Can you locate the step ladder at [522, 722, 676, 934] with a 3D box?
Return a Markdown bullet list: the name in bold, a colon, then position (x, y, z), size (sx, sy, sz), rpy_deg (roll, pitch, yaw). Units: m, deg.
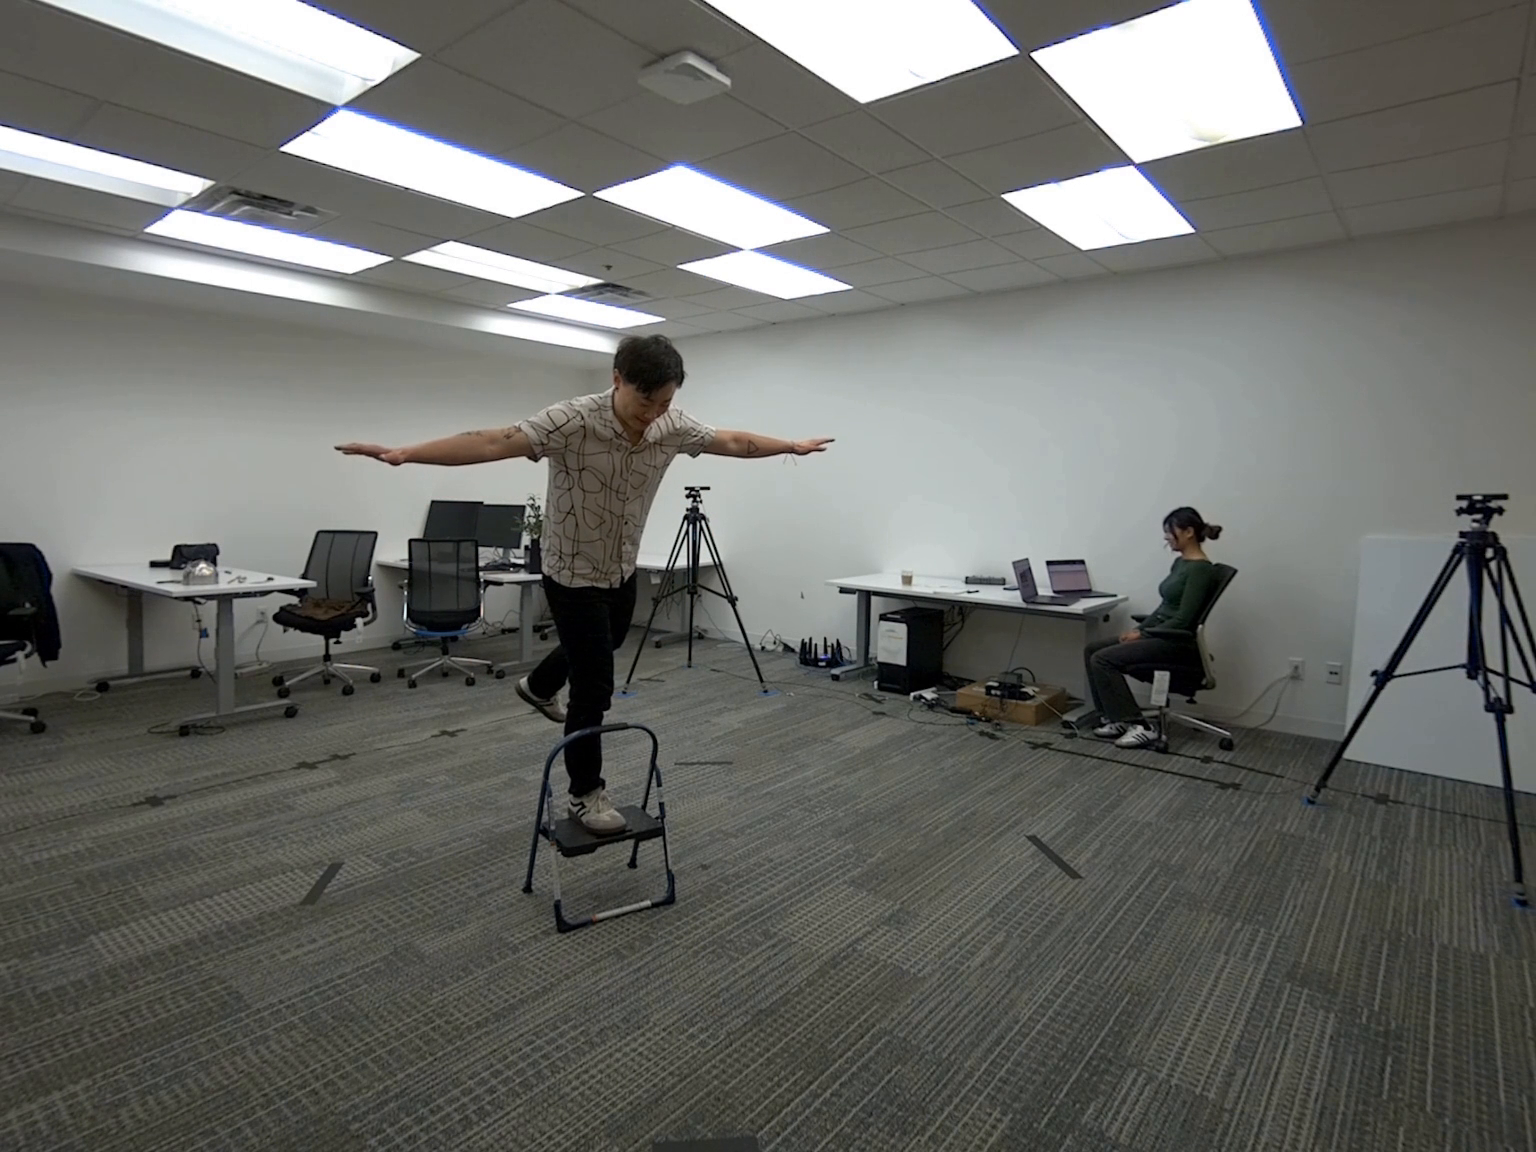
- **step ladder**: position (-0.581, 0.781, 2.869), size (0.418, 0.604, 0.360), rpy_deg (-2, 4, -34)
